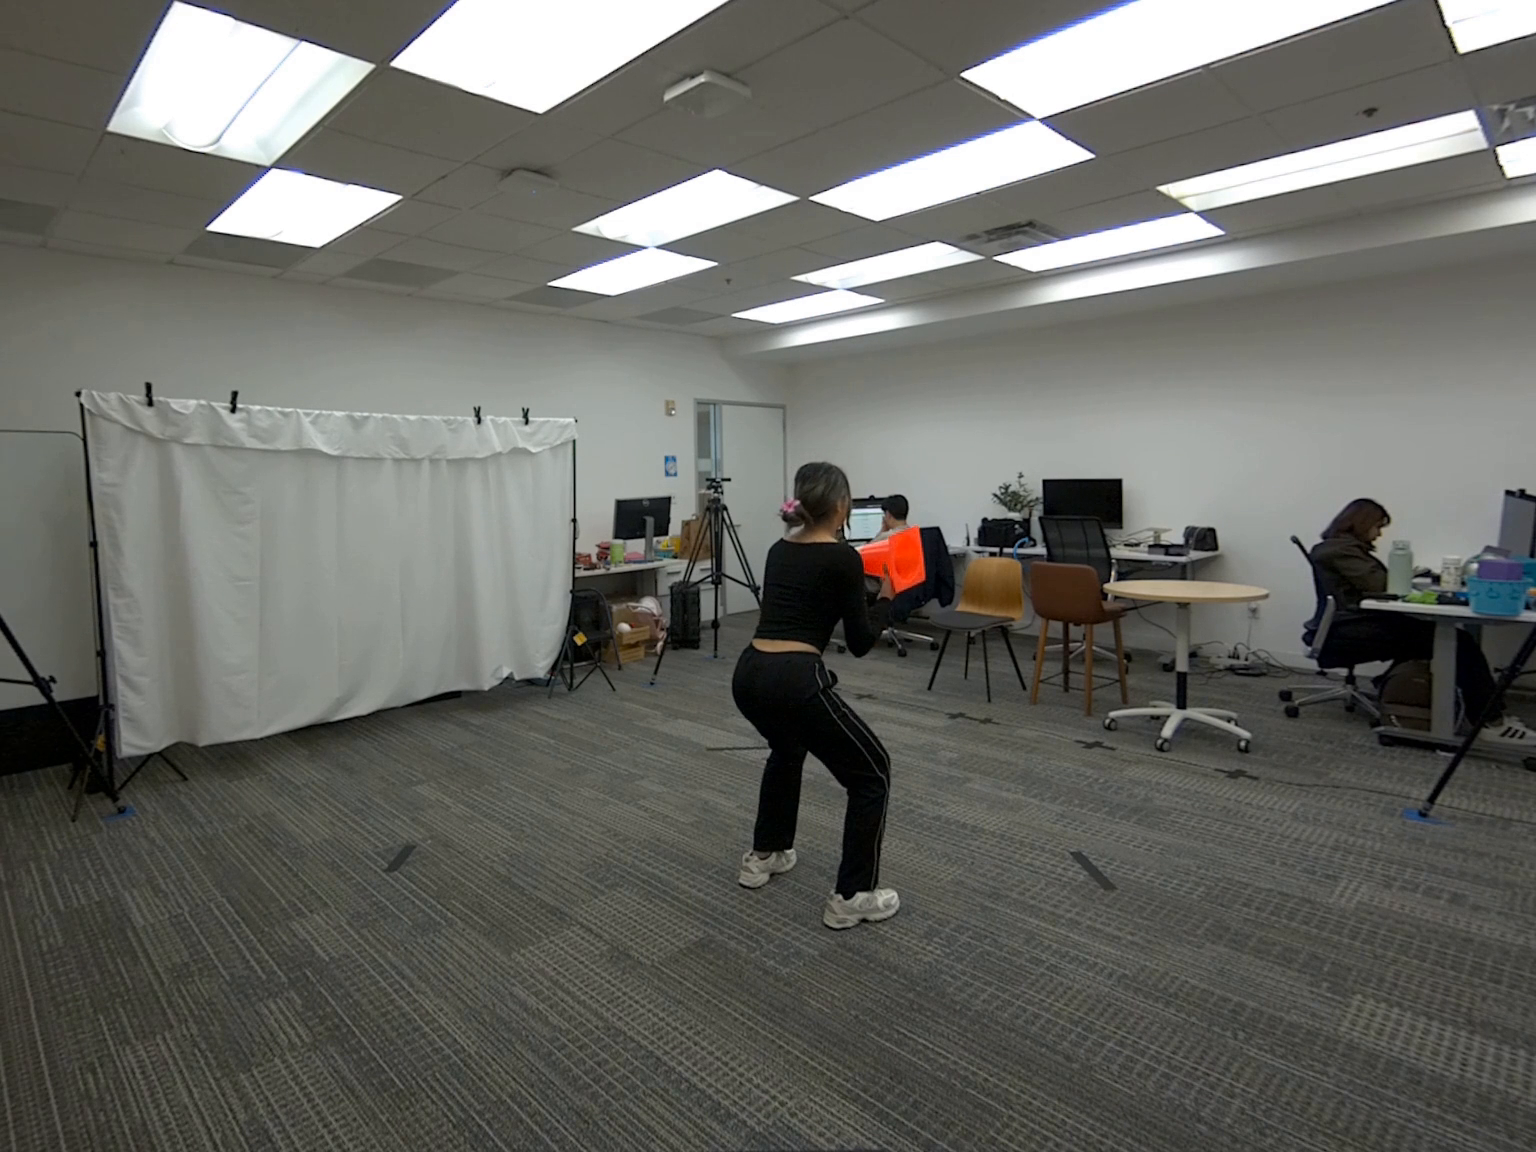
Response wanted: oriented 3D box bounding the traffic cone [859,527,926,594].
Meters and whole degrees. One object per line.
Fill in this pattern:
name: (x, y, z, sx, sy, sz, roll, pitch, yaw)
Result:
traffic cone: (0.341, -0.063, 3.066, 0.199, 0.203, 0.395, -15, 11, -43)
